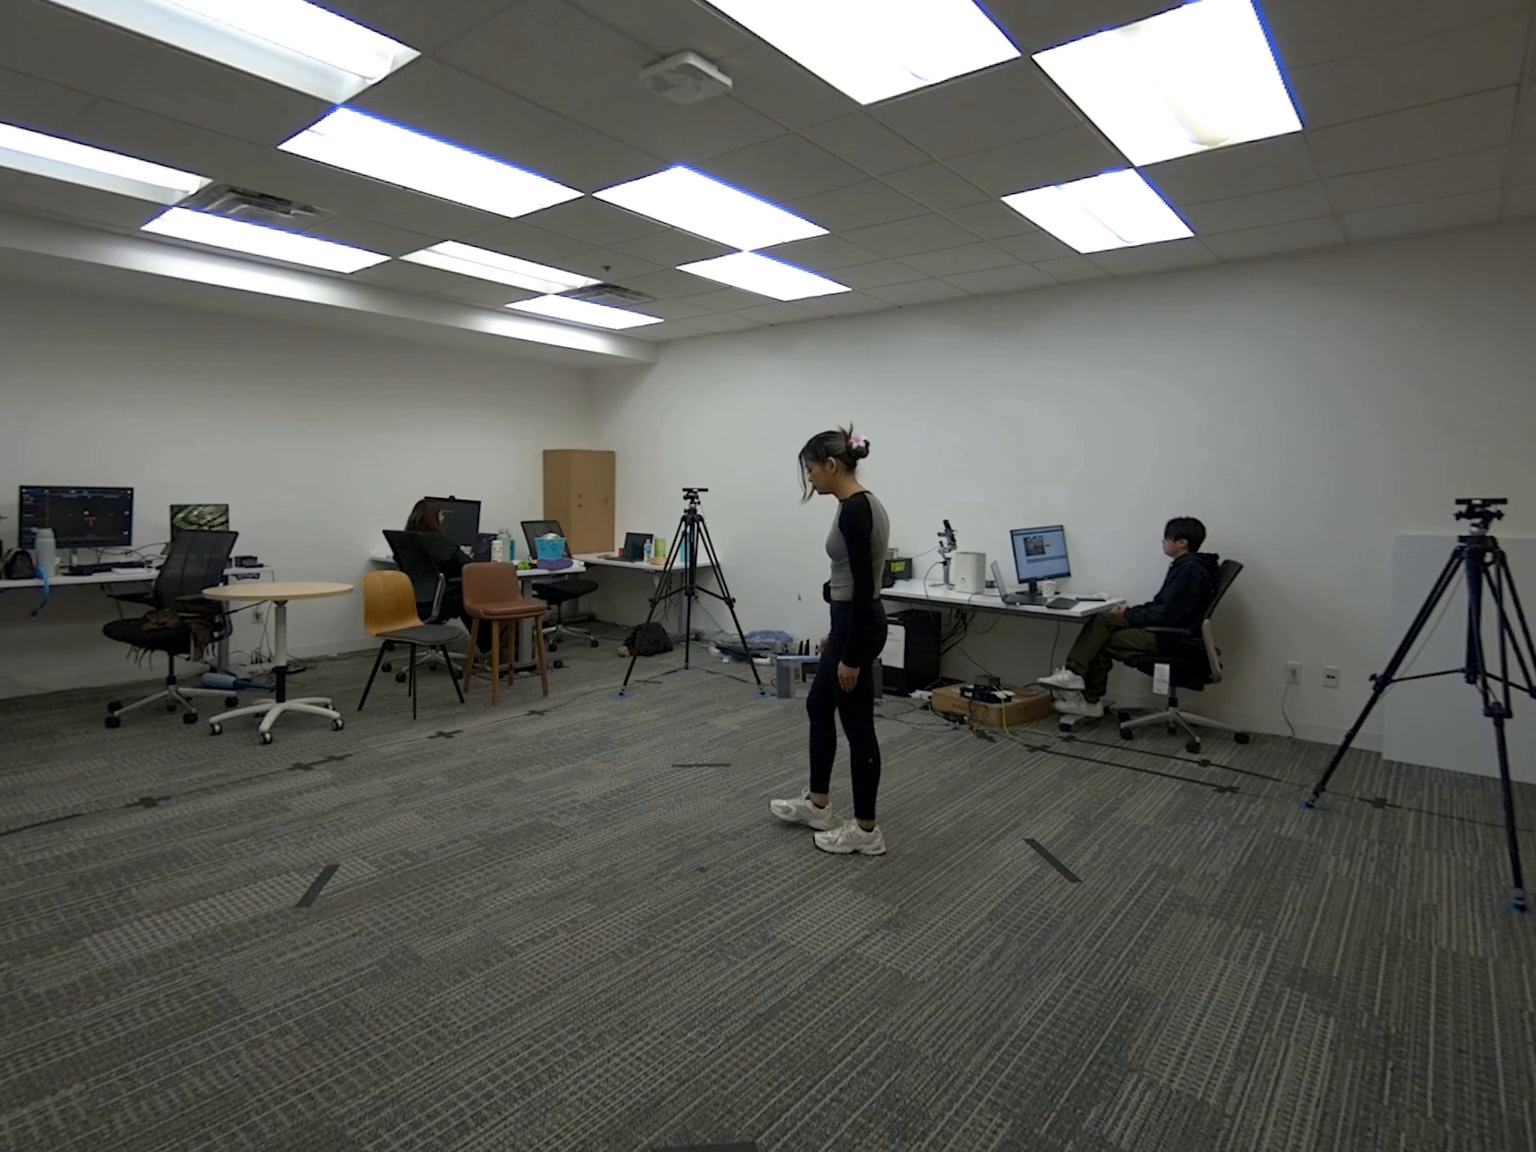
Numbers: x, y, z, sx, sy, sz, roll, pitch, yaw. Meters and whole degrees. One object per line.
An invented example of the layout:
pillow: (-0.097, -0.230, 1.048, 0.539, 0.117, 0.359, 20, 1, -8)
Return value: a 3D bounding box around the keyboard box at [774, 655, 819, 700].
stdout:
keyboard box: (0.246, 0.419, 3.584, 0.440, 0.175, 0.059, 0, 3, 6)
